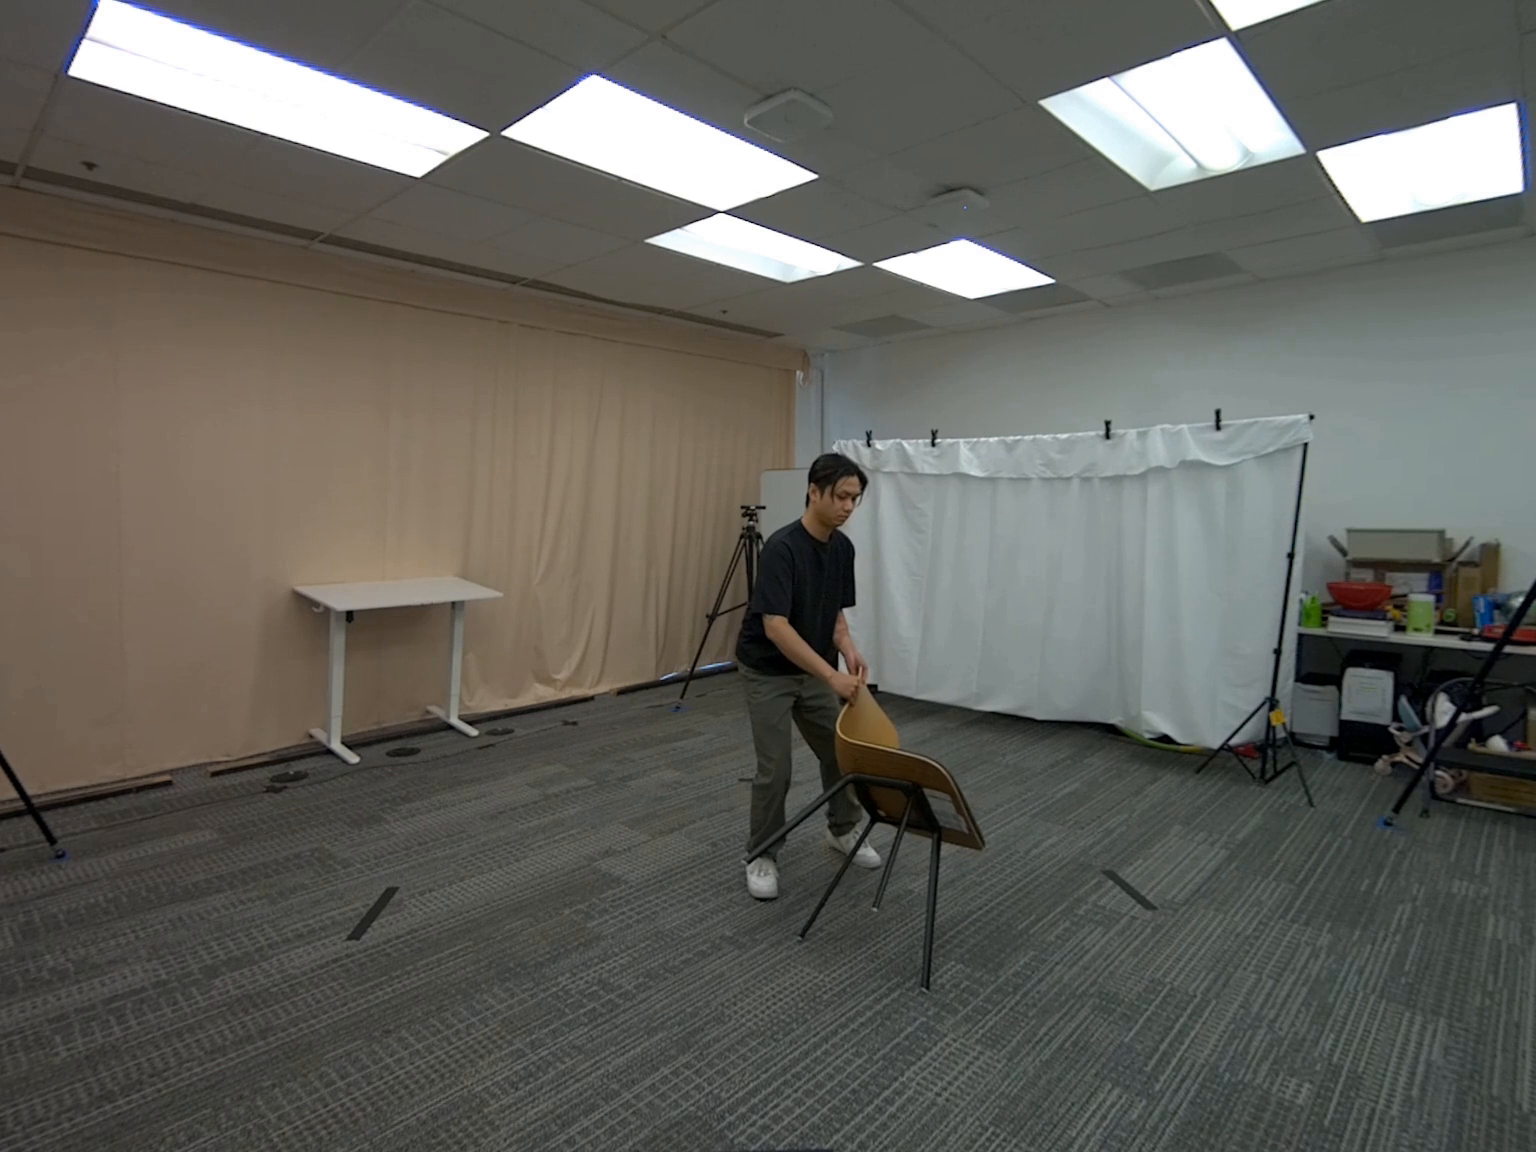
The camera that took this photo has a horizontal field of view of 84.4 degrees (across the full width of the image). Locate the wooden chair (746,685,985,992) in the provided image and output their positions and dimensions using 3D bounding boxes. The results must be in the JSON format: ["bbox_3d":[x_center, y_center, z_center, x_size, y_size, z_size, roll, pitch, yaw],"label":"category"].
[{"bbox_3d":[0.408,0.726,2.667,0.539,0.464,0.876,-2,42,36],"label":"wooden chair"}]
